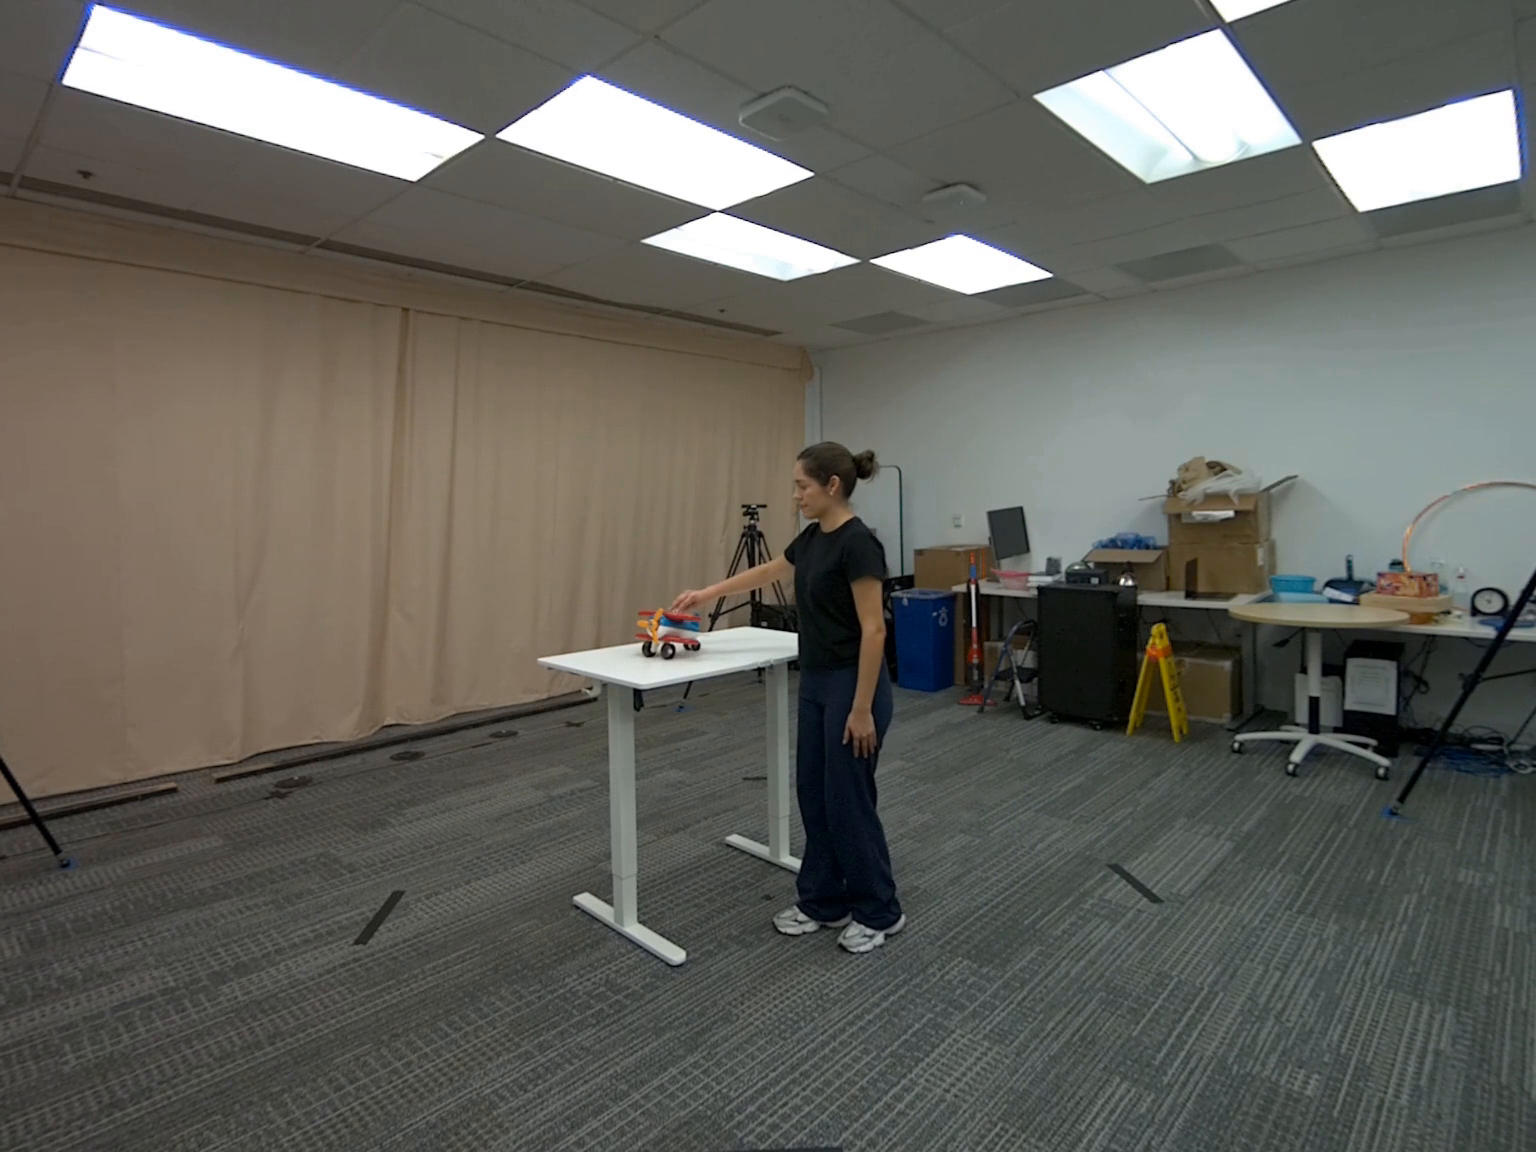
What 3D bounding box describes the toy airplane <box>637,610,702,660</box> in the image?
[{"bbox_3d":[-0.330,0.195,2.908,0.253,0.156,0.257,-1,5,8],"label":"toy airplane"}]
